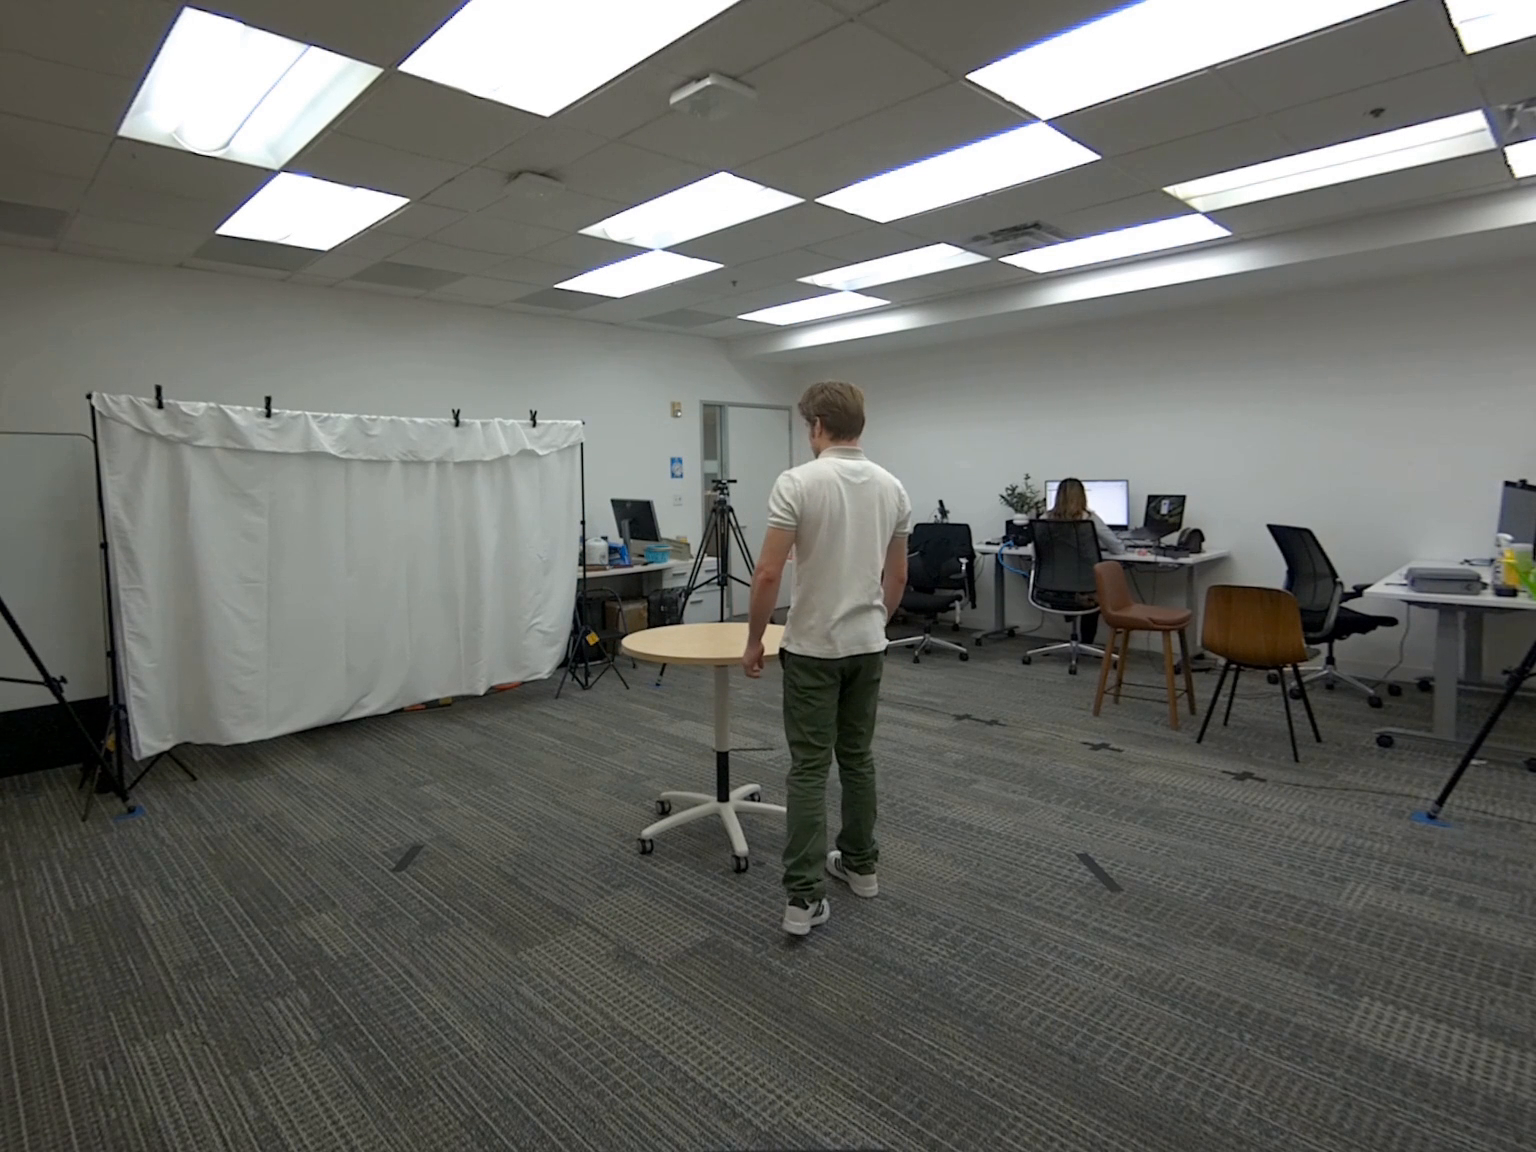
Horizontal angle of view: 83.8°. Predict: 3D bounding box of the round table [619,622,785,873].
[{"bbox_3d":[-0.180,0.635,3.343,0.763,0.791,0.767,-1,4,-2],"label":"round table"}]
